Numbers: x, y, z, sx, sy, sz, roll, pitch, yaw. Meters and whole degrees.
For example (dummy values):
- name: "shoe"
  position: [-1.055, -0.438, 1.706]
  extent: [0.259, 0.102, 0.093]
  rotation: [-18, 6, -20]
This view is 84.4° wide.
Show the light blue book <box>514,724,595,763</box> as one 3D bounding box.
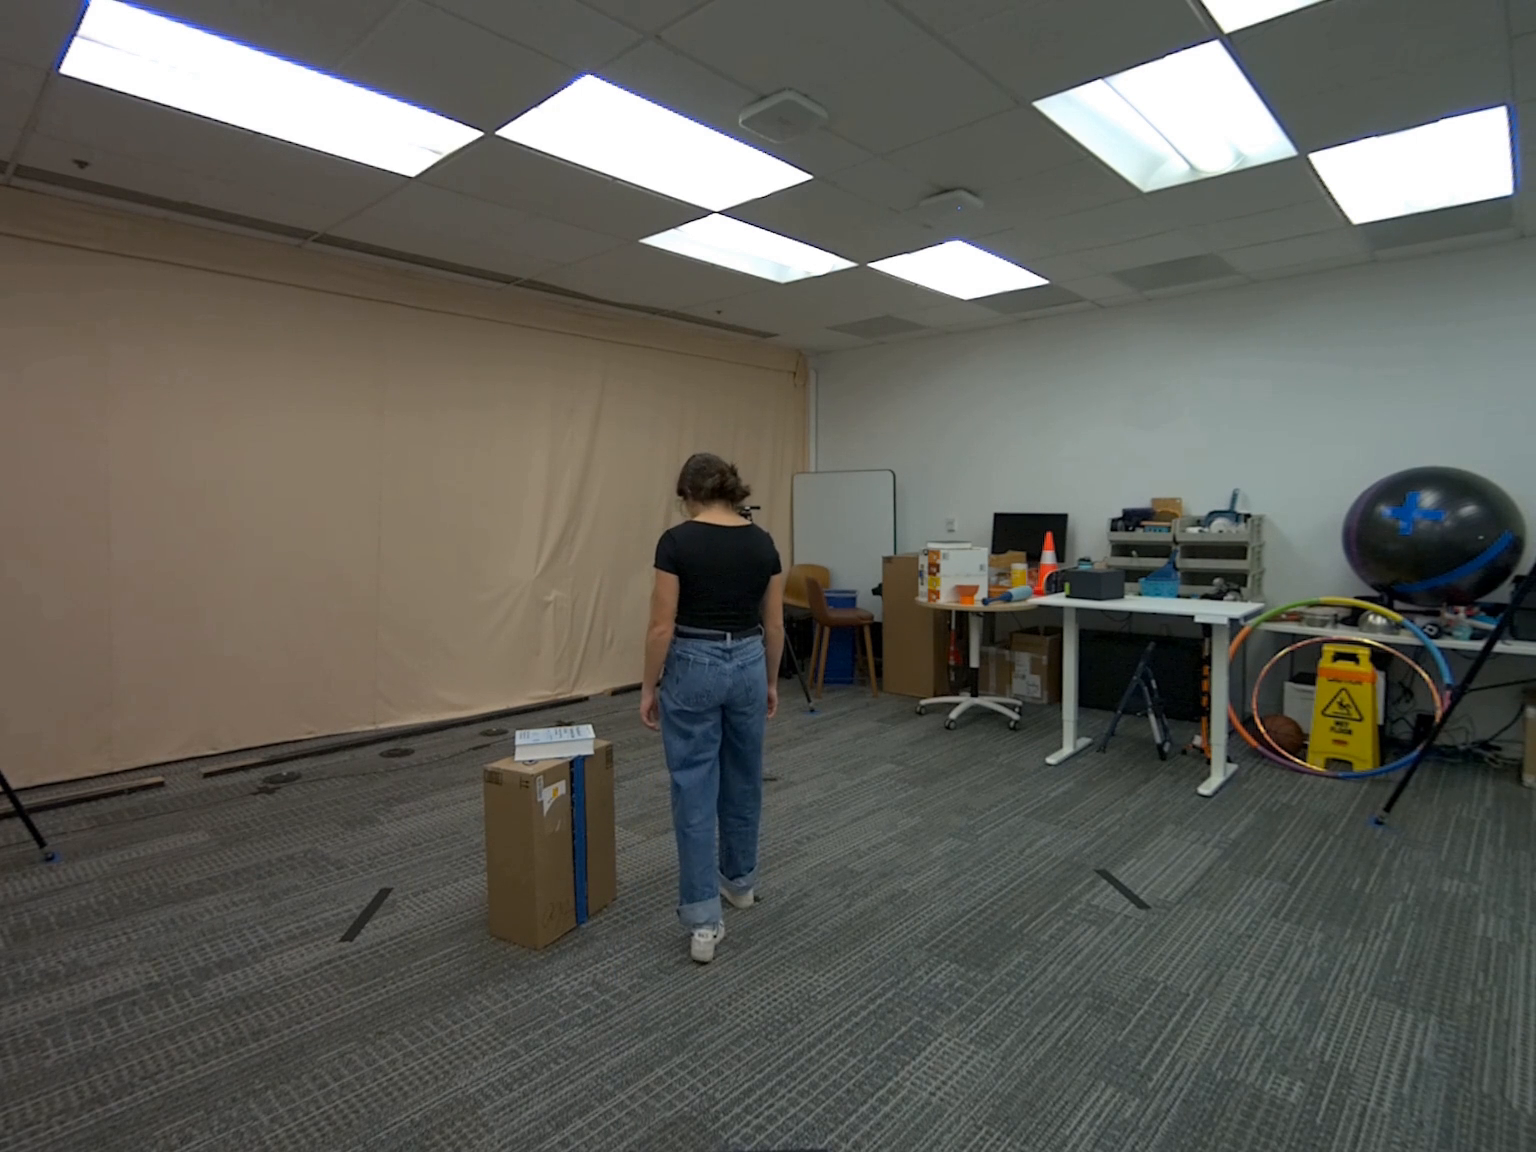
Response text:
- name: "light blue book"
  position: [-0.728, 0.569, 2.879]
  extent: [0.257, 0.059, 0.194]
  rotation: [-2, 5, -13]
